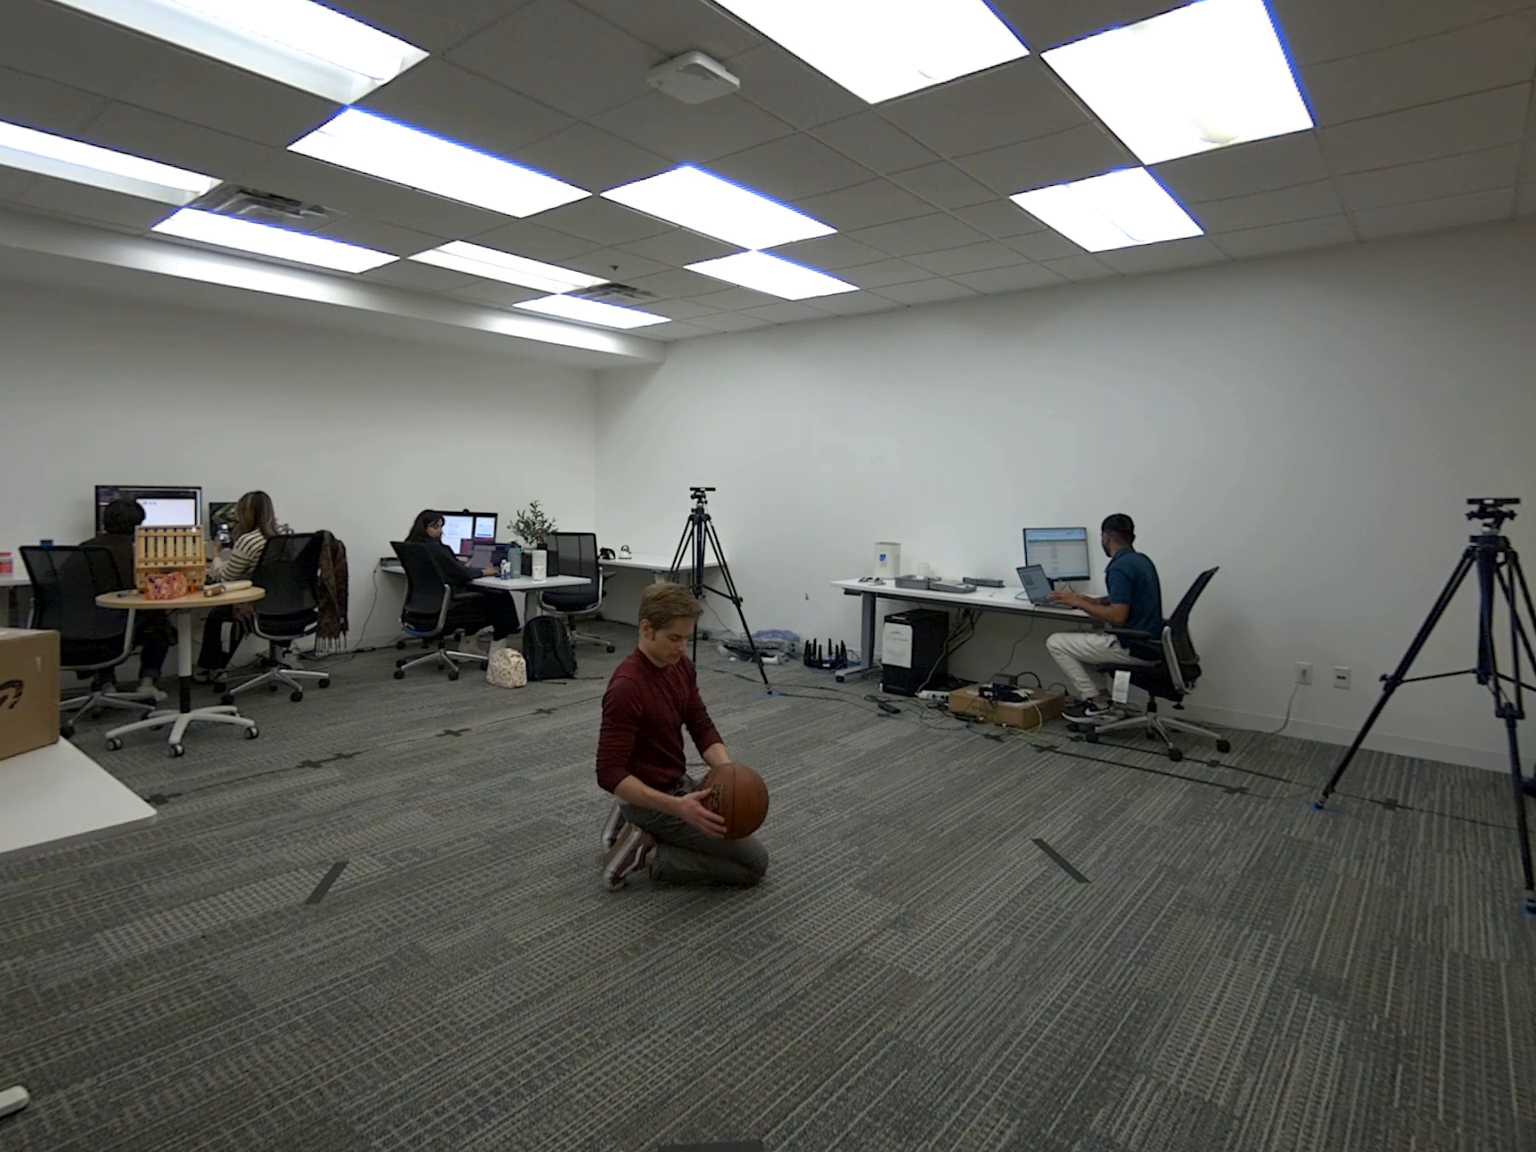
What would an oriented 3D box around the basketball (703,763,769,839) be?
[{"bbox_3d":[-0.124,0.729,2.770,0.235,0.235,0.237,1,4,-2],"label":"basketball"}]
